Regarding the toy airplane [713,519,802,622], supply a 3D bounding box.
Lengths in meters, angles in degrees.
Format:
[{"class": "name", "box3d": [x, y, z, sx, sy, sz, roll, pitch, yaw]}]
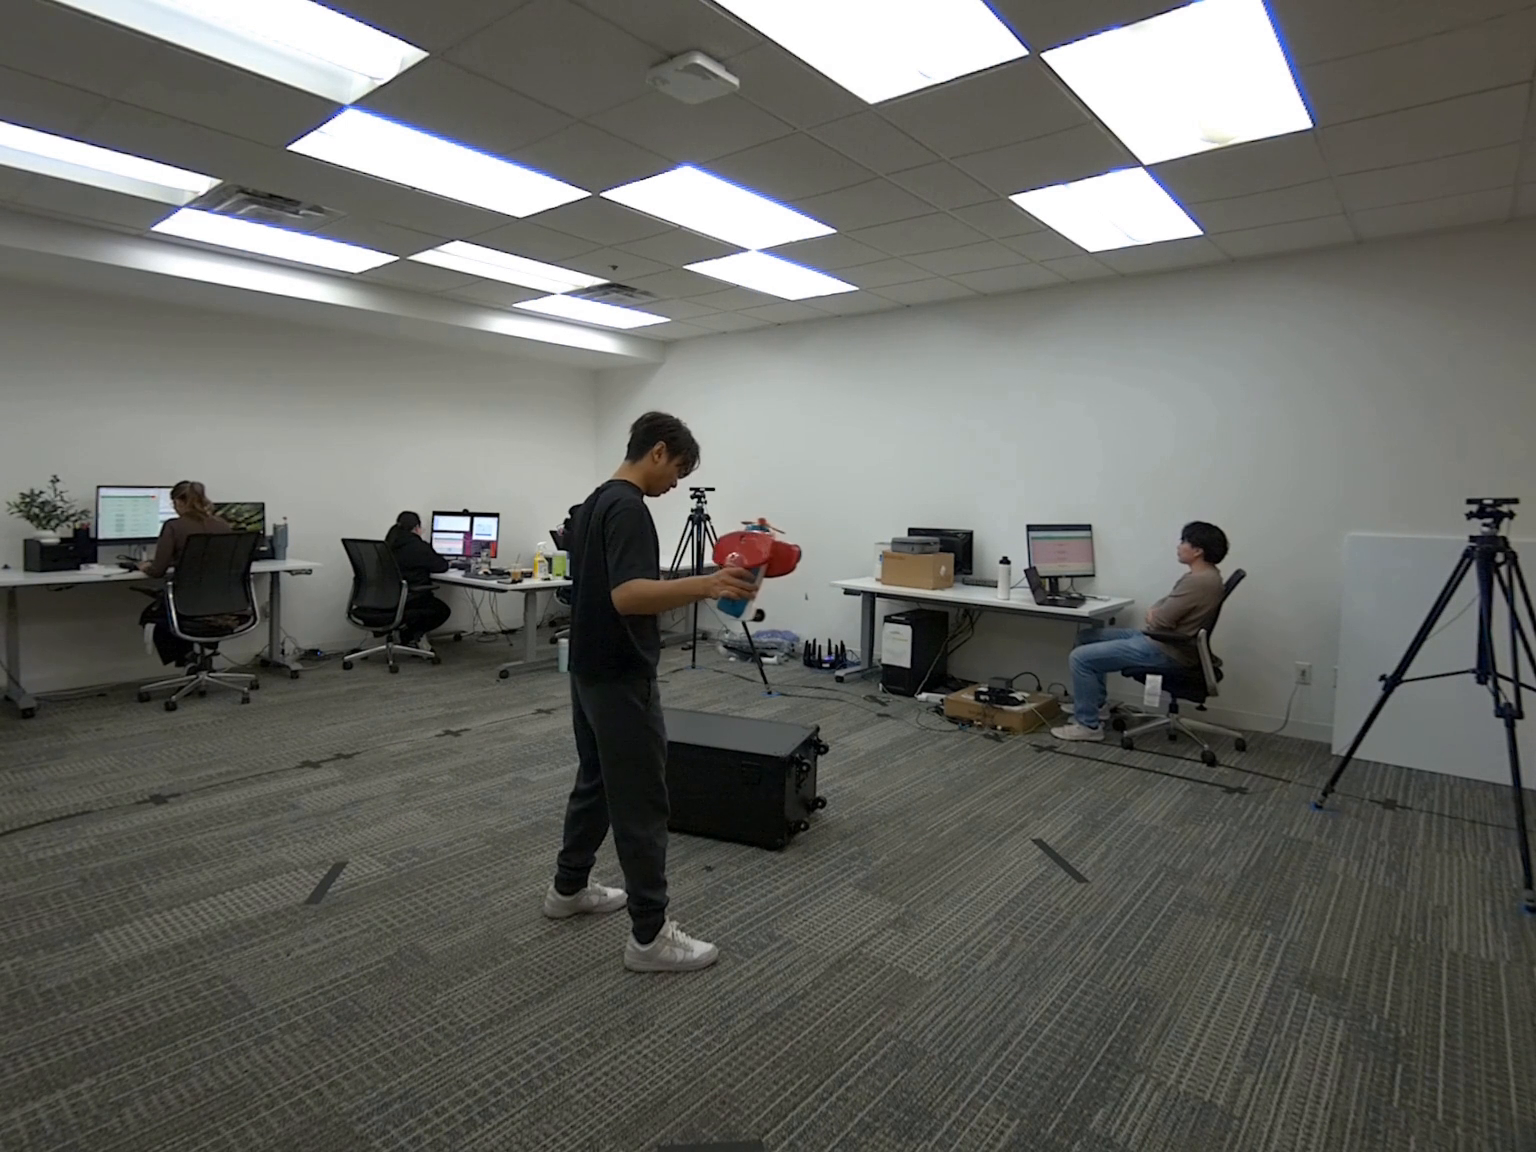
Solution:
[{"class": "toy airplane", "box3d": [-0.038, -0.021, 2.148, 0.254, 0.265, 0.151, -30, -55, 36]}]
